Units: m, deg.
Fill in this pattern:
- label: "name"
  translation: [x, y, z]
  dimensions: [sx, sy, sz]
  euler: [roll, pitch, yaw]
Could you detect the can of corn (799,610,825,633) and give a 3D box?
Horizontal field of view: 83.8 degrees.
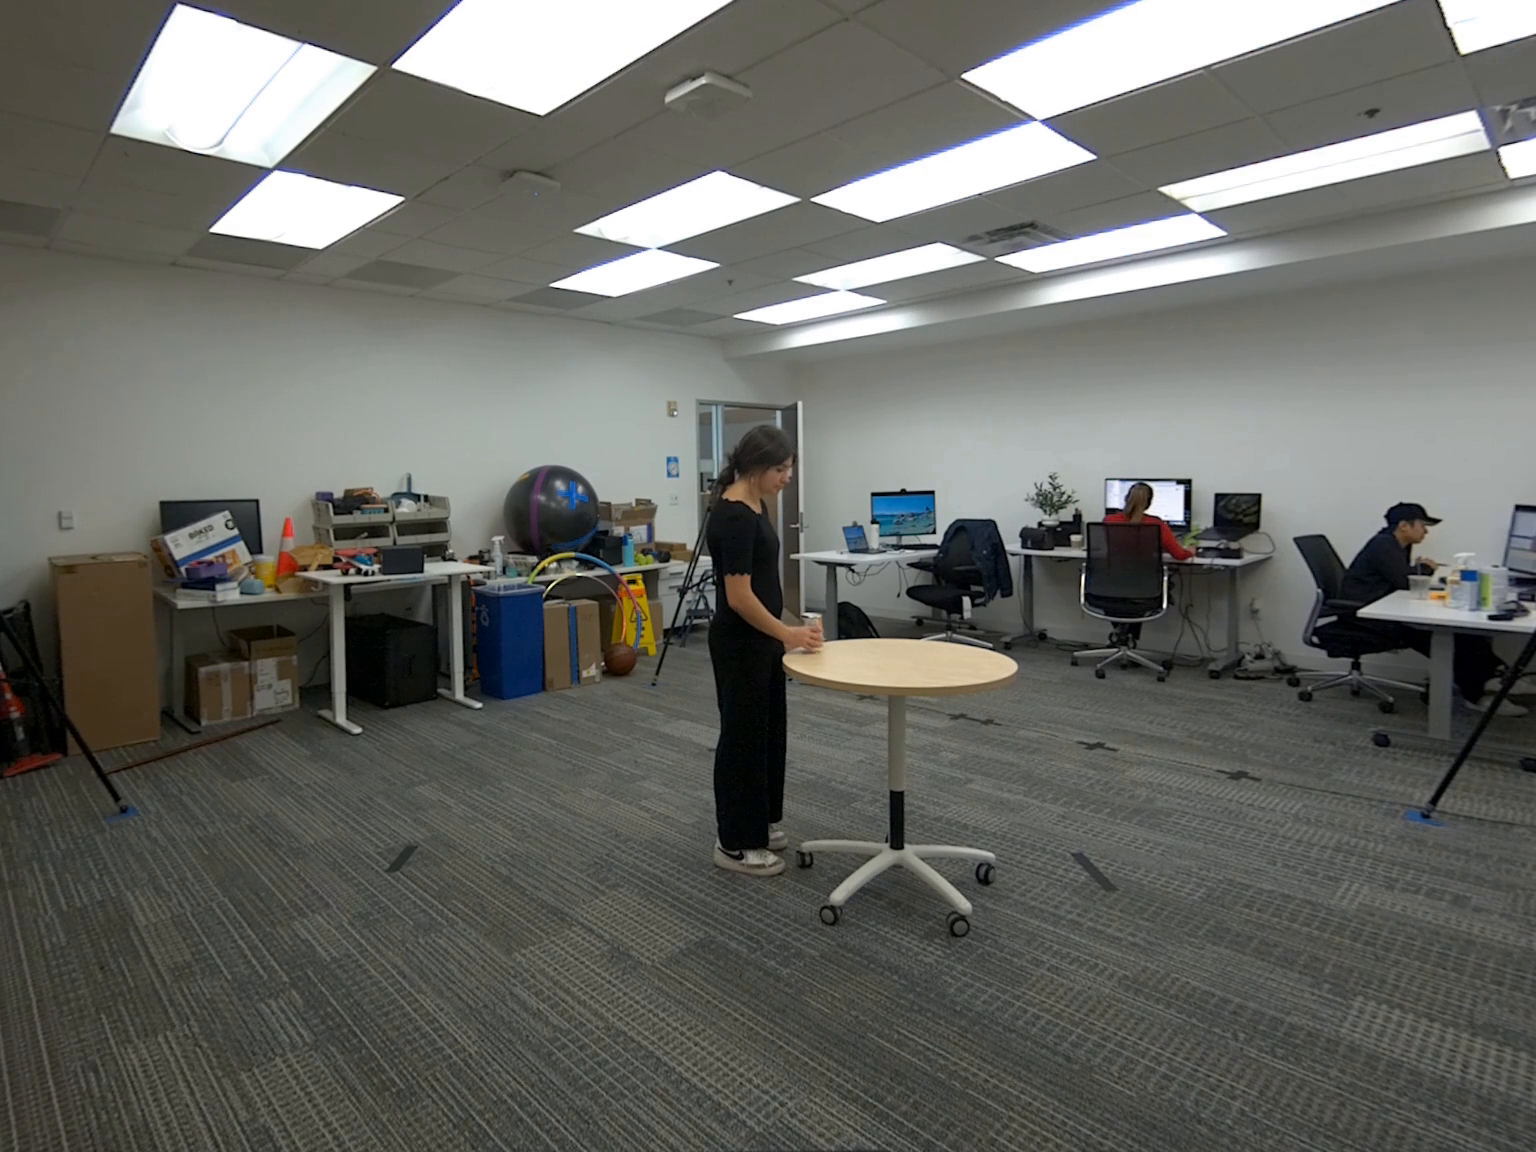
- label: "can of corn"
  translation: [0.157, 0.189, 3.009]
  dimensions: [0.074, 0.111, 0.074]
  euler: [-1, 4, -2]
